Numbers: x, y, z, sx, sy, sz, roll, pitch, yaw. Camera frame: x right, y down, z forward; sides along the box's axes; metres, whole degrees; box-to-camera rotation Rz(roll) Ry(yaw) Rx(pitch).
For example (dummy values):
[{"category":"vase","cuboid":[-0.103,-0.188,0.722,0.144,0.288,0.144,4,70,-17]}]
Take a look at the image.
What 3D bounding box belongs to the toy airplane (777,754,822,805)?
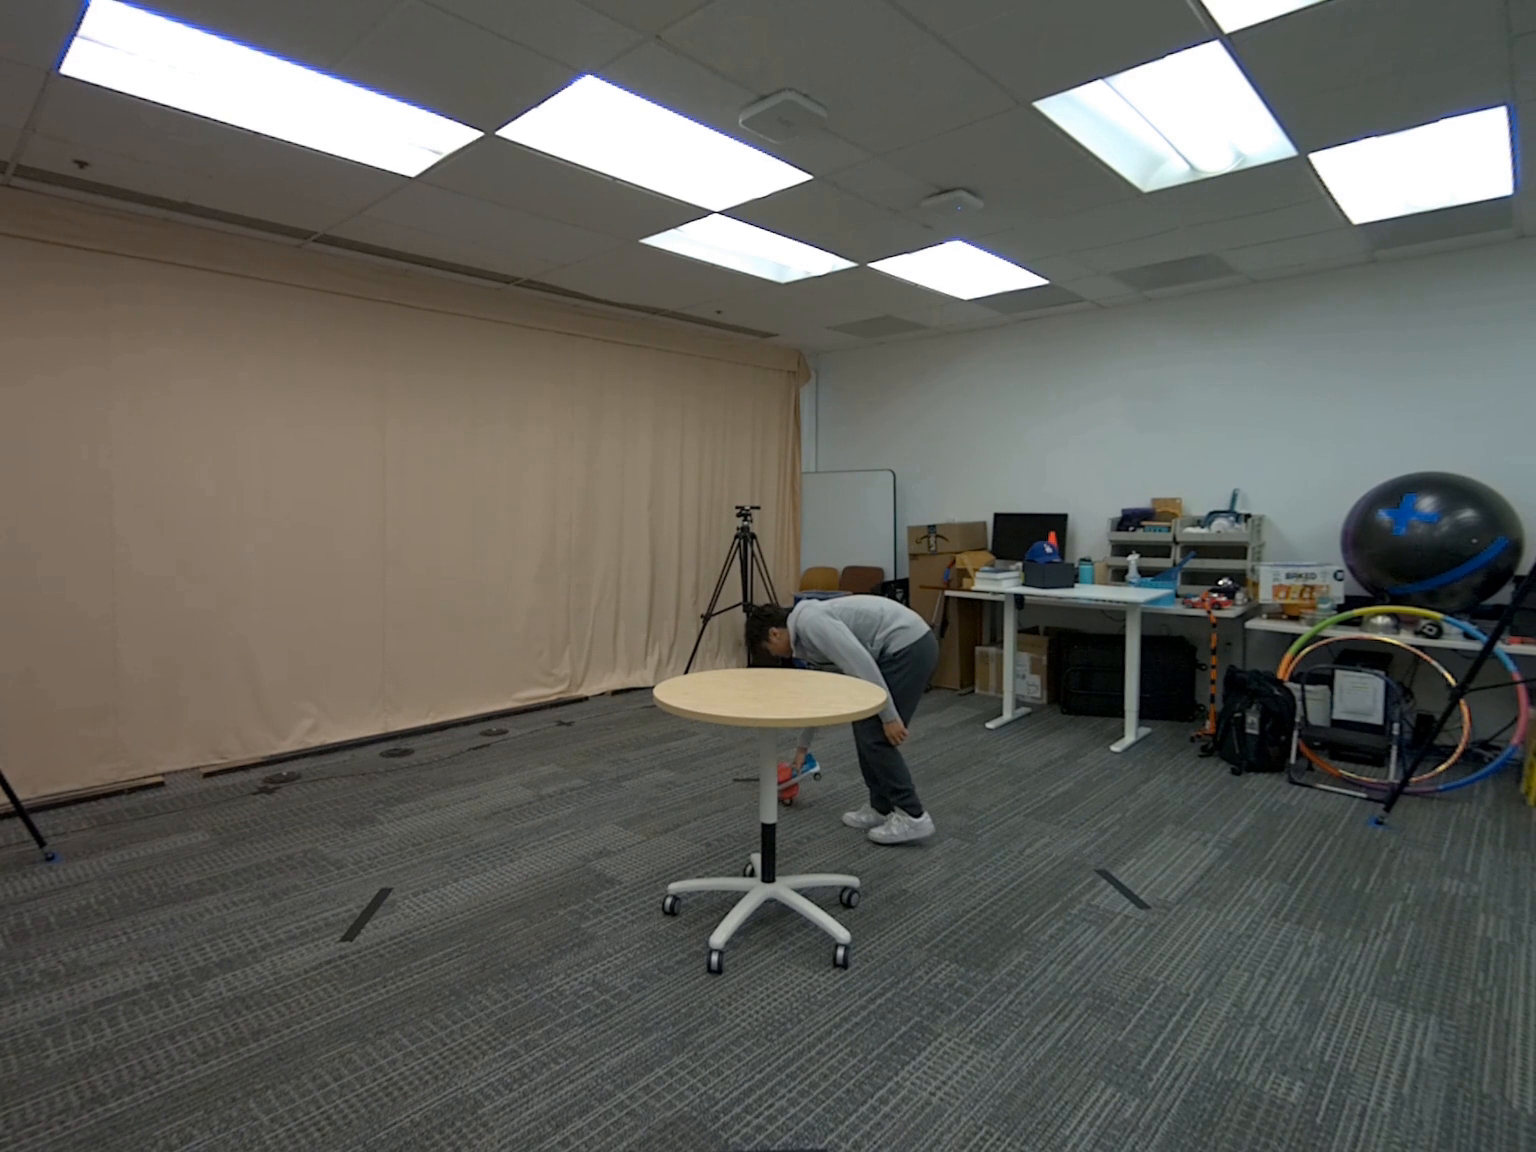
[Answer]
[{"category":"toy airplane","cuboid":[0.123,0.950,3.971,0.256,0.156,0.254,-41,5,-27]}]
